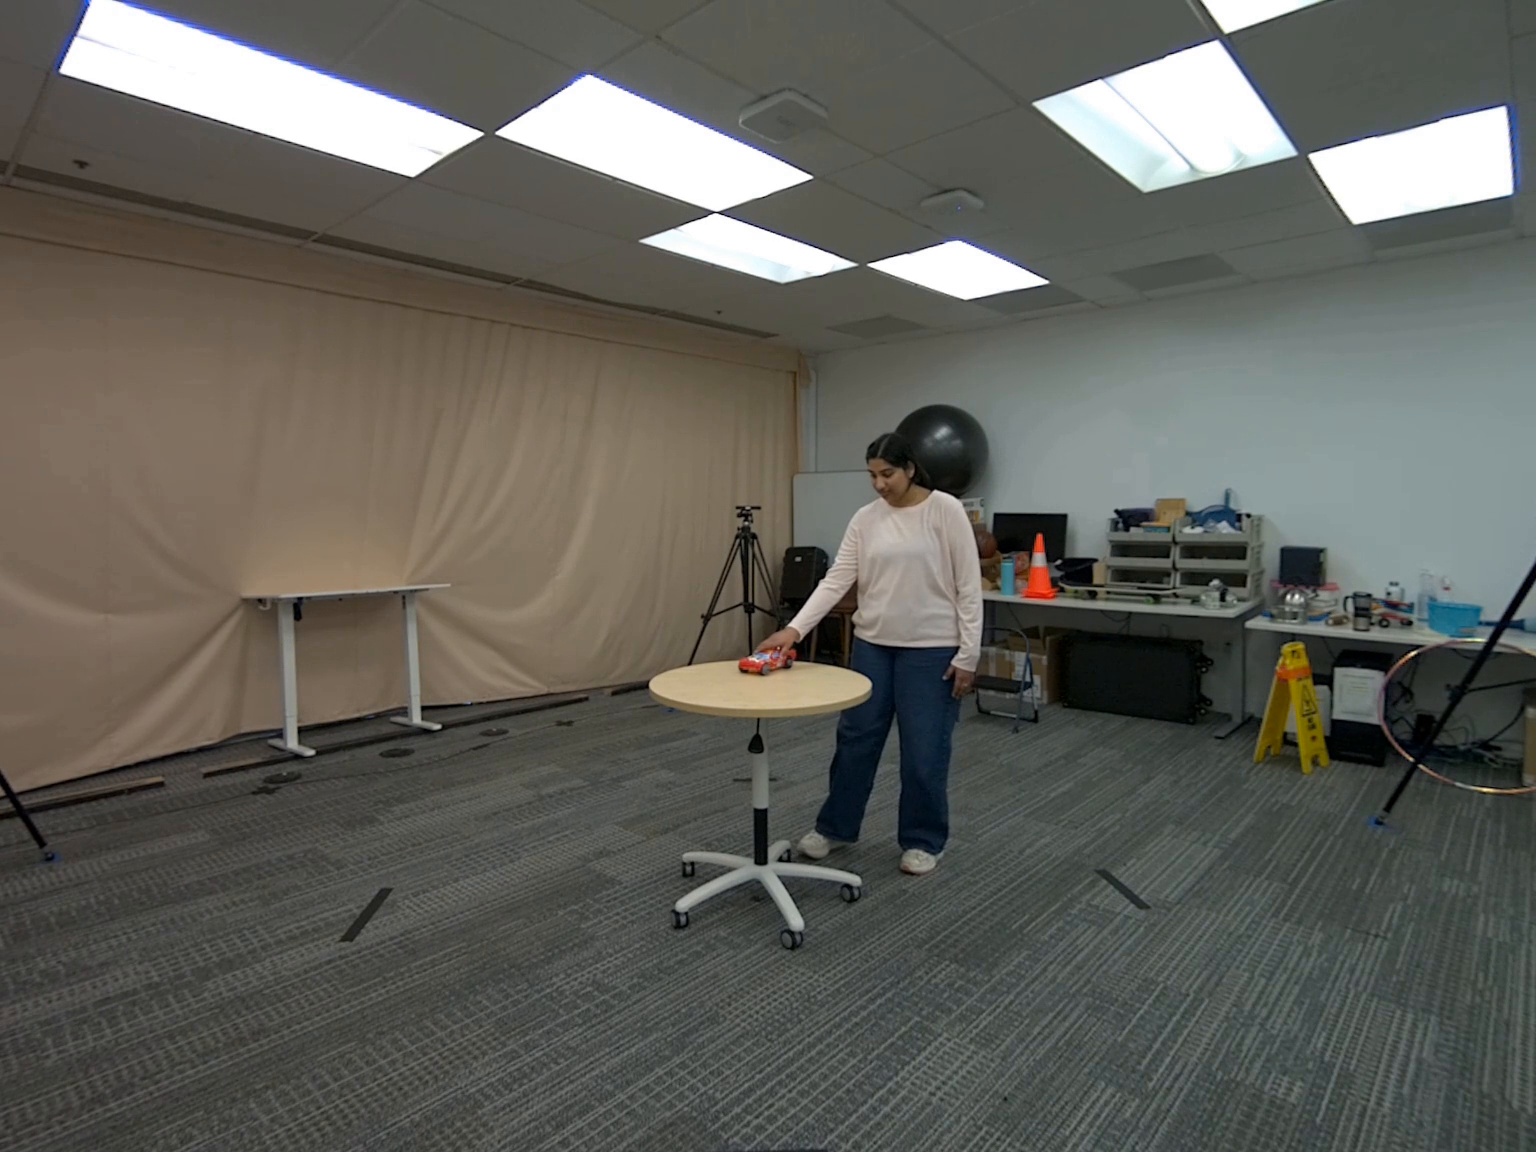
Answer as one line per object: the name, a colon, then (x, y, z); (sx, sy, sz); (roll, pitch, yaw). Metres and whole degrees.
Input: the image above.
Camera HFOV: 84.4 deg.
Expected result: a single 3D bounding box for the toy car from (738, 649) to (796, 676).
toy car: (0.006, 0.317, 3.124); (0.134, 0.082, 0.249); (2, 17, 38)
